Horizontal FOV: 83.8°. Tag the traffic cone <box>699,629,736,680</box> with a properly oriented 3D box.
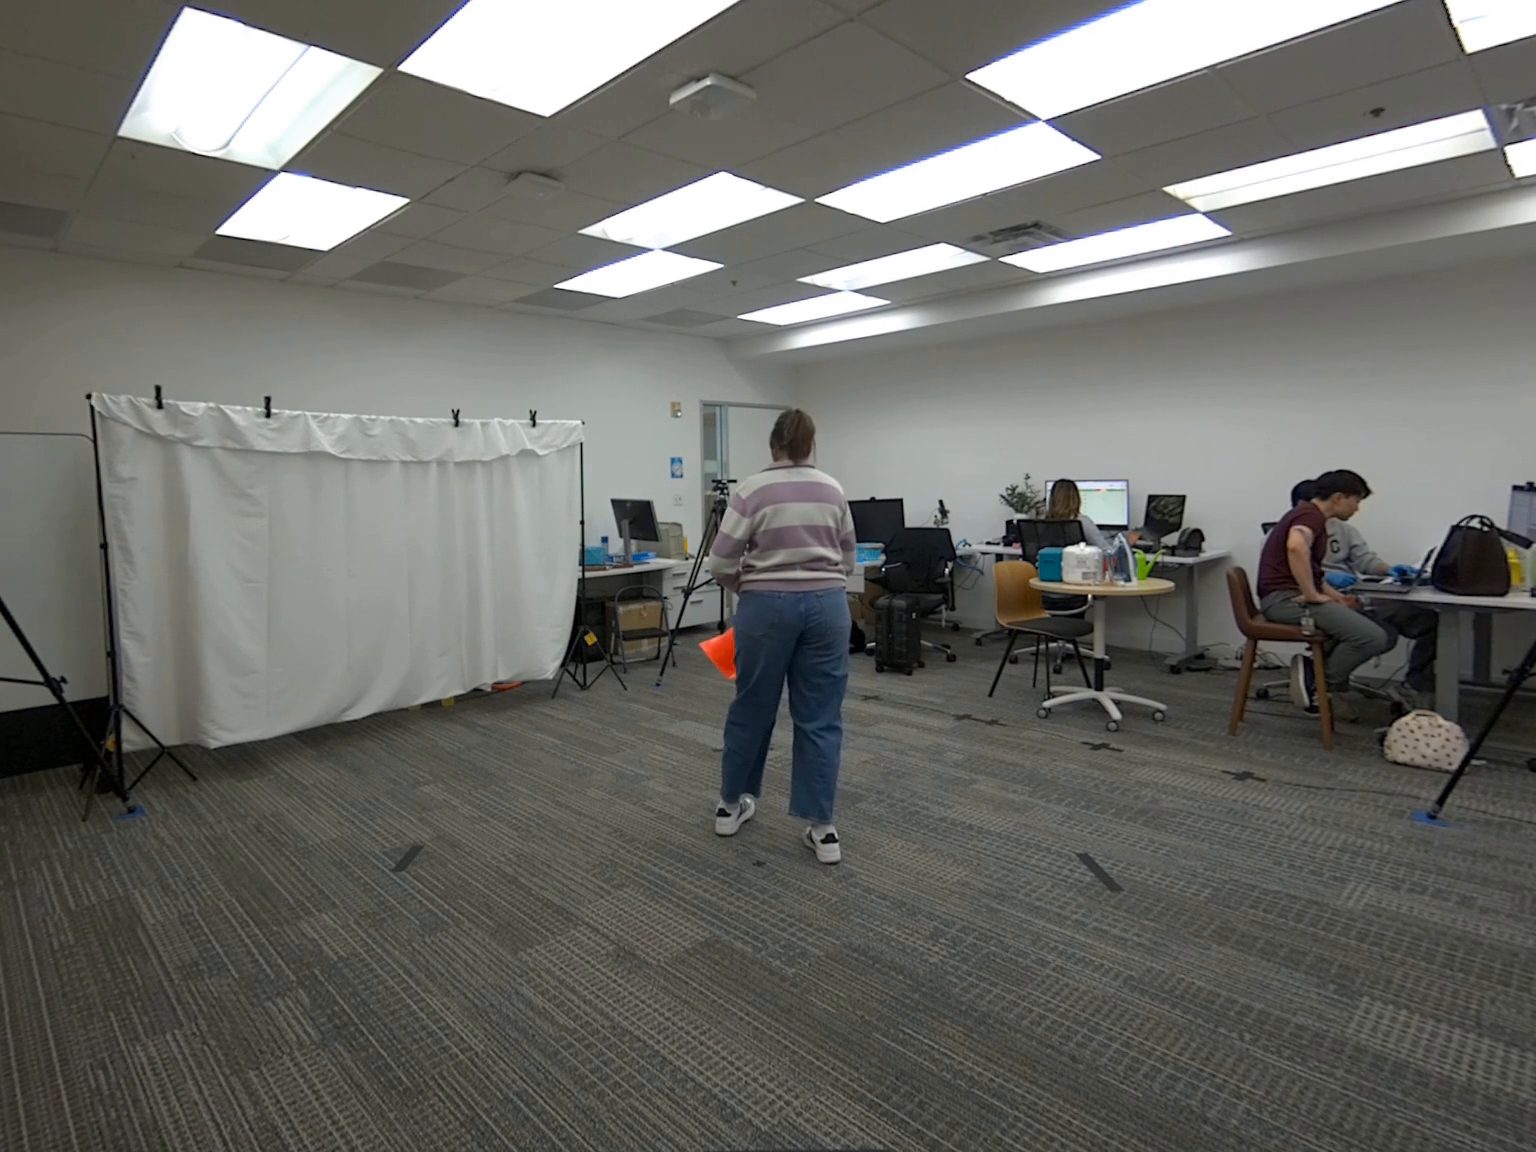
[{"bbox_3d":[-0.073,0.210,3.524,0.200,0.382,0.209,-7,51,-51],"label":"traffic cone"}]
